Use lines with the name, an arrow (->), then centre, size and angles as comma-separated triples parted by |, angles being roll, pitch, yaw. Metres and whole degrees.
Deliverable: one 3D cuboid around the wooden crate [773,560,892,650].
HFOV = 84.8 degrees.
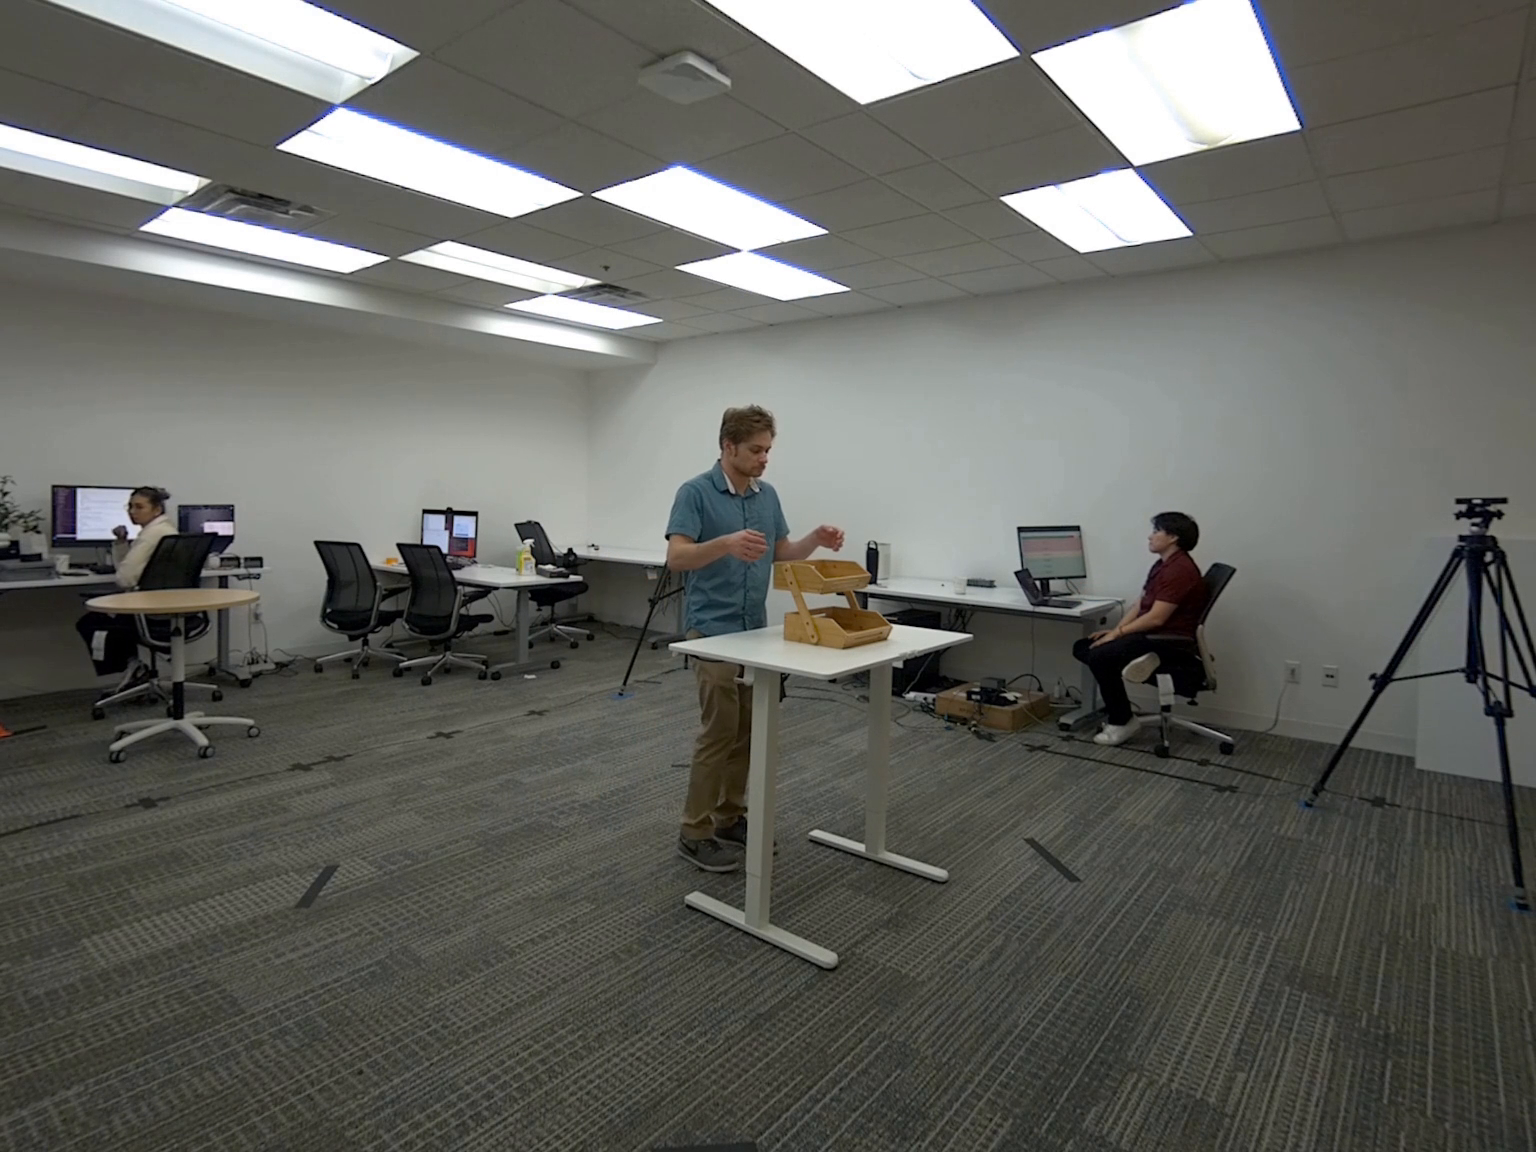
wooden crate -> 0.221, 0.083, 2.922 | 0.312, 0.272, 0.315 | 5, 5, 38
